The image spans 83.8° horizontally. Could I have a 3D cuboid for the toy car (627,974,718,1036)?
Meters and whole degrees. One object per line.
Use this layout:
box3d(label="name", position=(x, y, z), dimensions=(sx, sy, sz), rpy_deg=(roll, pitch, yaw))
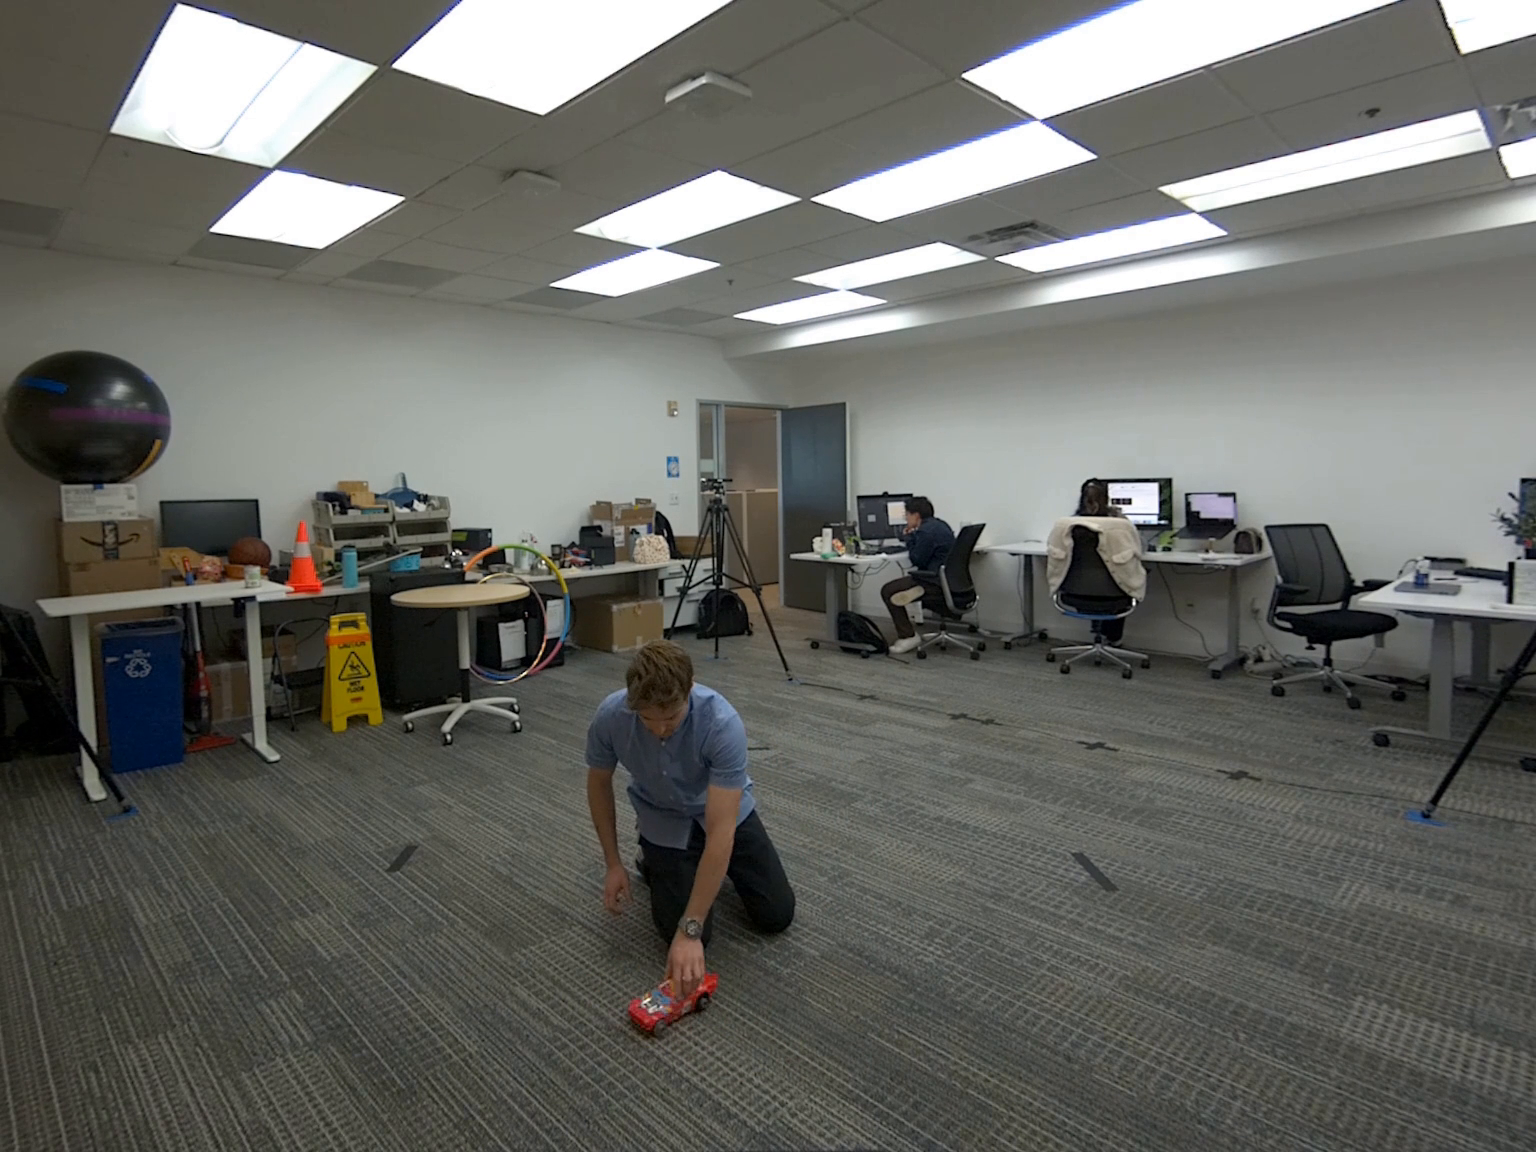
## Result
box3d(label="toy car", position=(-0.239, 1.125, 2.262), dimensions=(0.134, 0.082, 0.250), rpy_deg=(5, 20, 44))
